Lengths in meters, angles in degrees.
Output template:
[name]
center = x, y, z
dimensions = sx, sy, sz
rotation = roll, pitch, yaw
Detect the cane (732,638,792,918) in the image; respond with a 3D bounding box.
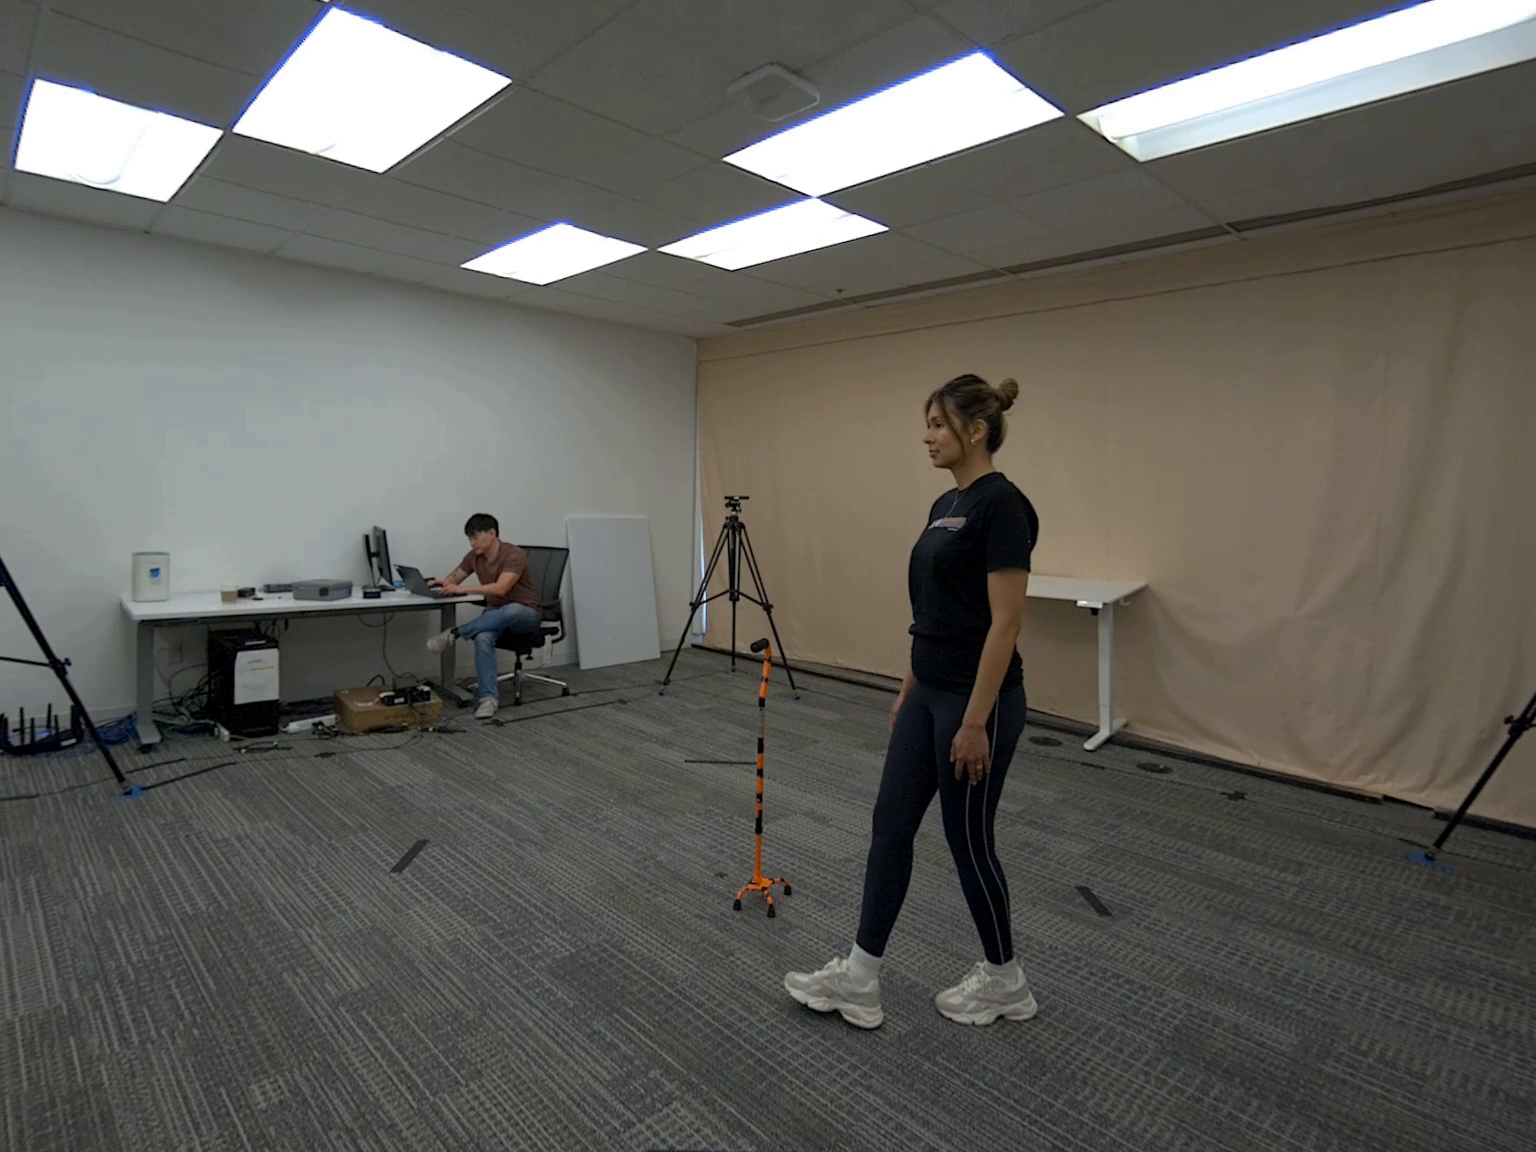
[cane]
center = -0.015, 0.673, 2.888
dimensions = 0.154, 0.906, 0.204
rotation = 2, 2, 16
